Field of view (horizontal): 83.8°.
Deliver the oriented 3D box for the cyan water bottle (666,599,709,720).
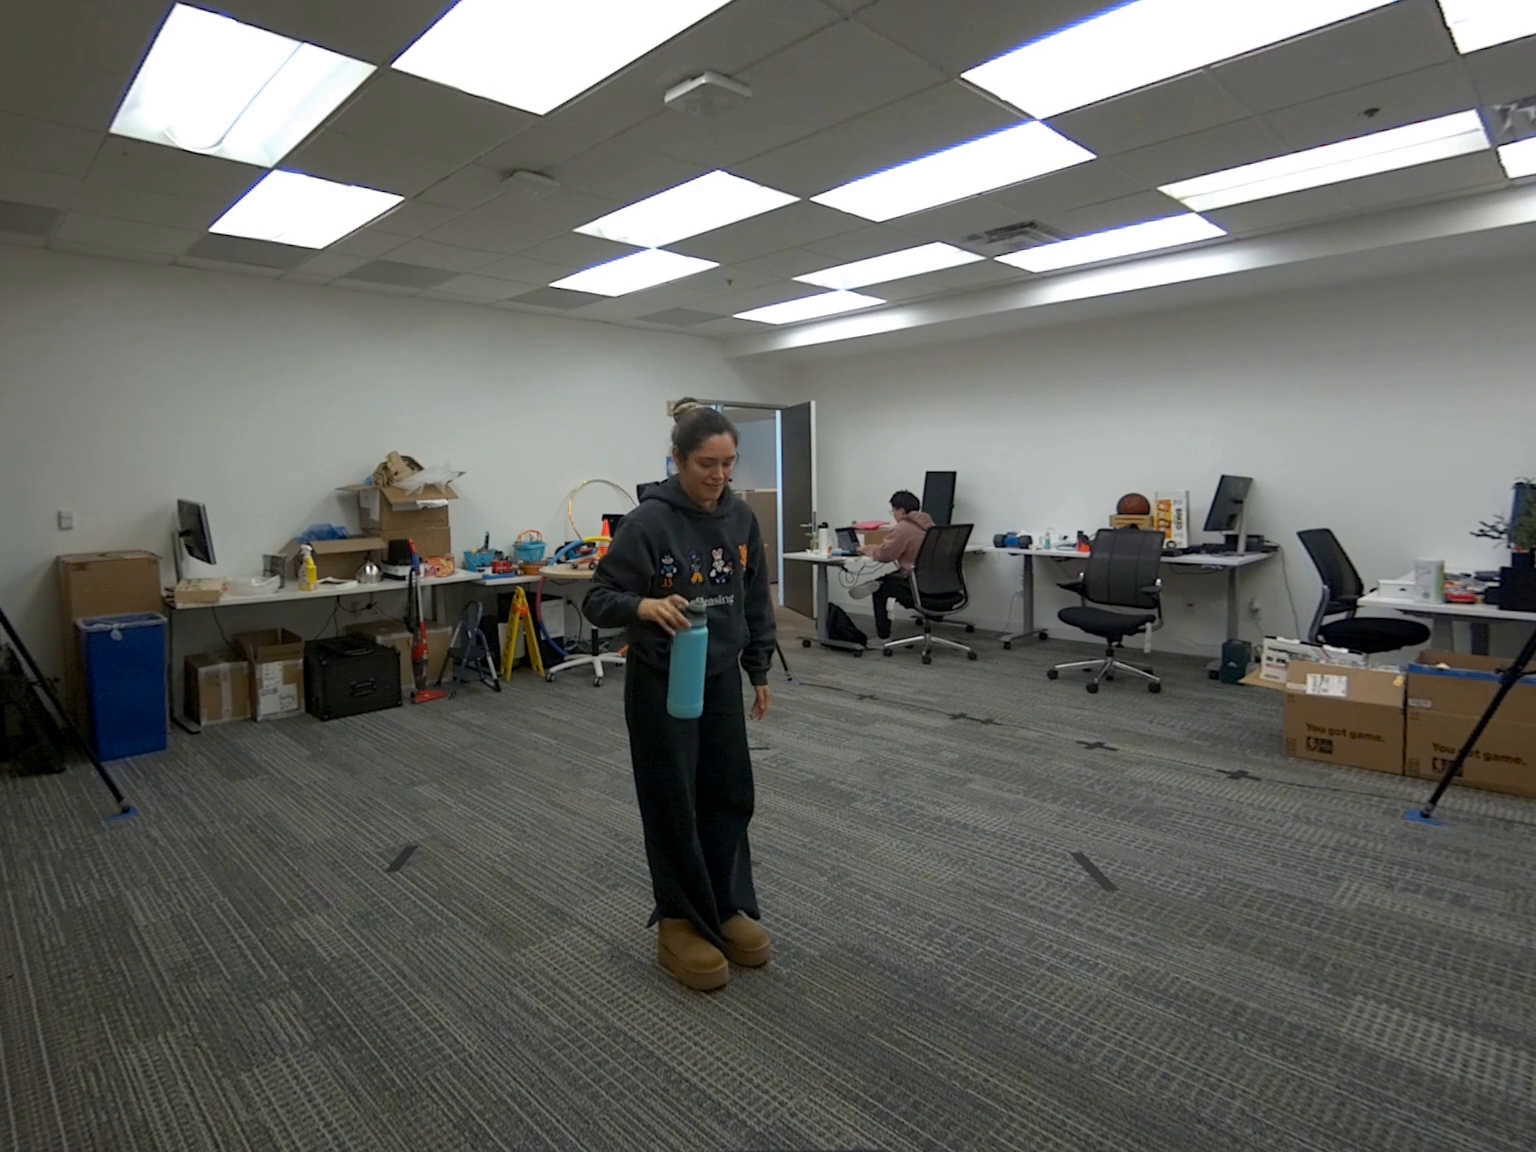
[{"bbox_3d":[-0.200,0.208,2.113,0.092,0.281,0.093,2,9,-2],"label":"cyan water bottle"}]
